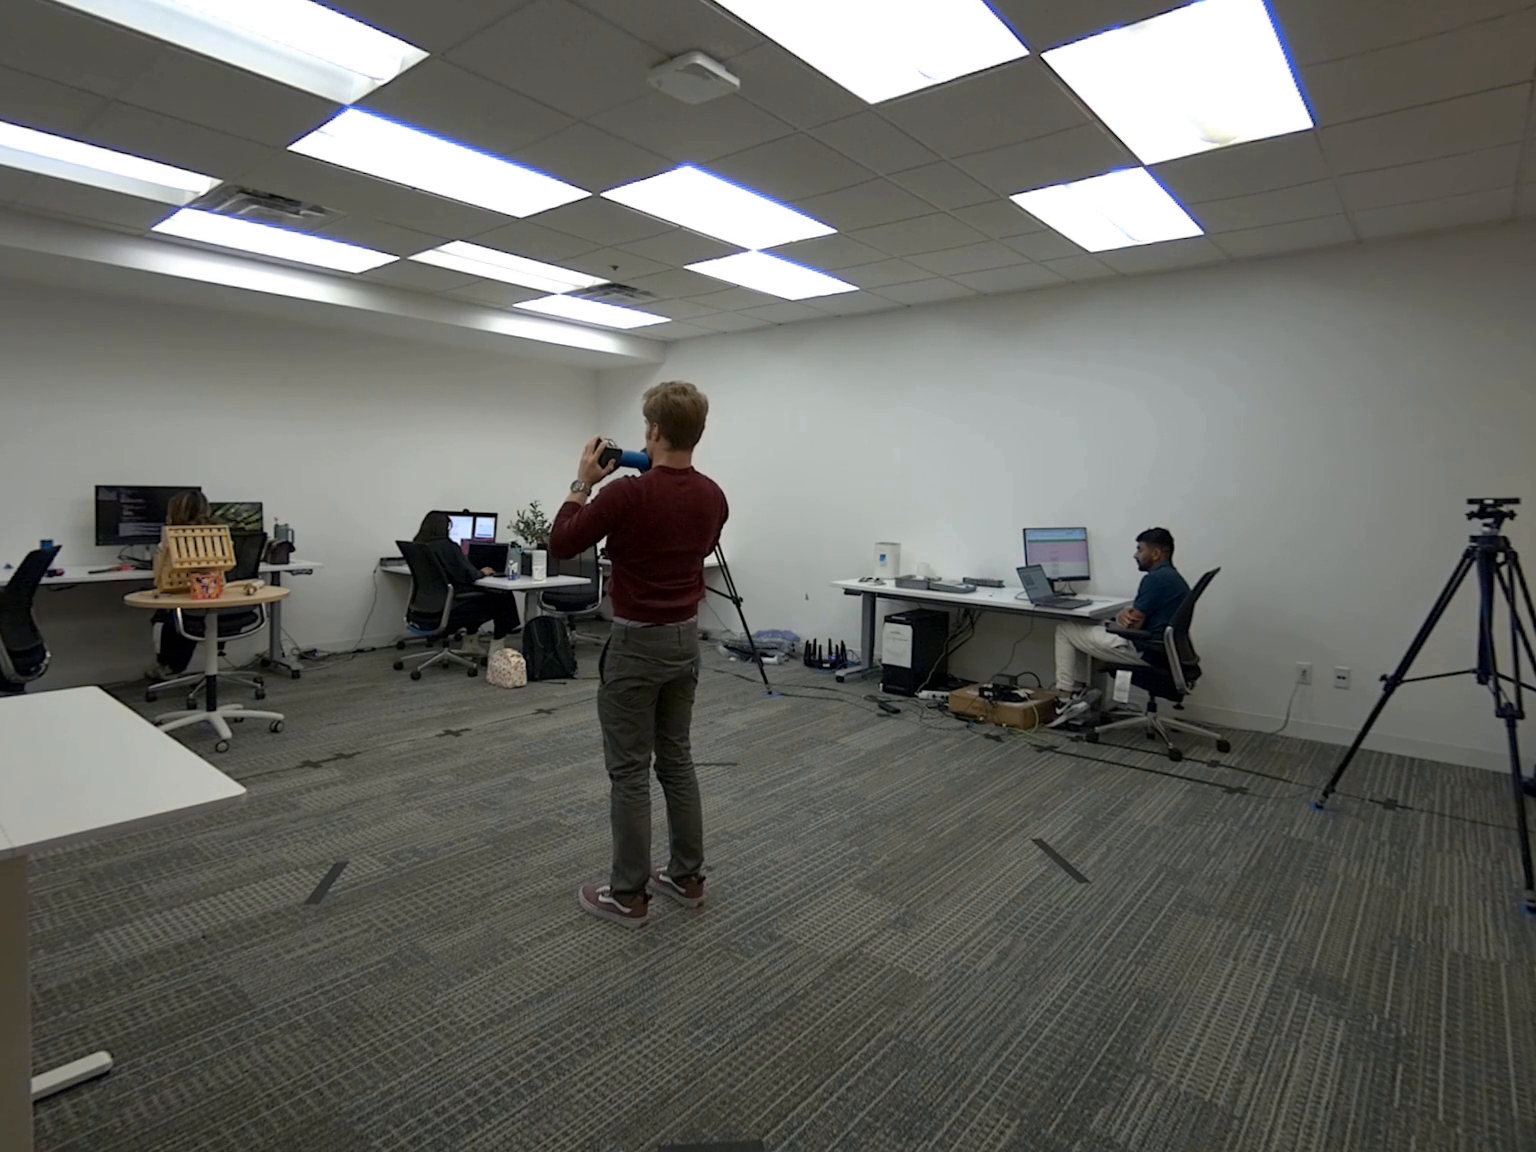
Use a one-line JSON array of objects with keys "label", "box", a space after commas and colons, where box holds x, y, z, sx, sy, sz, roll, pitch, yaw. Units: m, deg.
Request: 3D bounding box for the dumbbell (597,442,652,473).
[{"label": "dumbbell", "box": [-0.474, -0.425, 2.895, 0.284, 0.122, 0.113, 2, 11, -44]}]
